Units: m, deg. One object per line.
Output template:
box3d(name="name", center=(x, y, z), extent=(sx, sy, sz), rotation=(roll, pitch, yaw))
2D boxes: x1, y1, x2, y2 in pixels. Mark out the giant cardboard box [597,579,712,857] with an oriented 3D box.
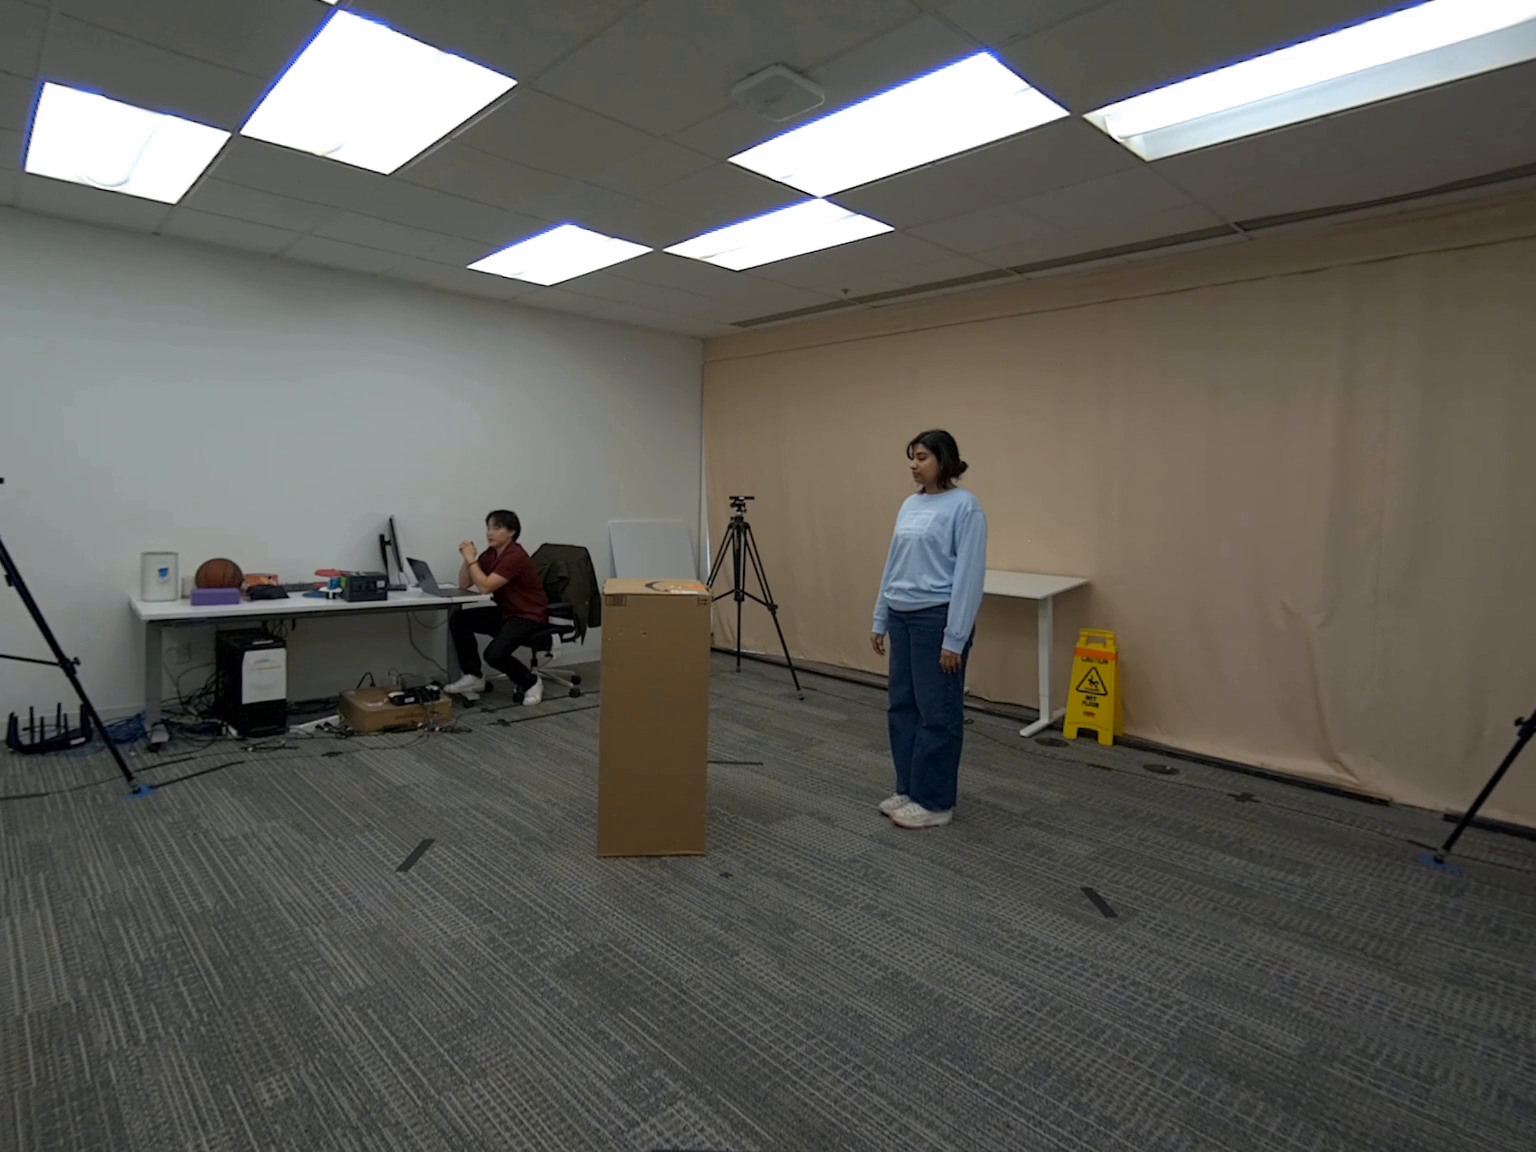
box3d(name="giant cardboard box", center=(-0.489, 0.552, 3.509), extent=(0.444, 1.025, 0.589), rotation=(2, 3, -9))
